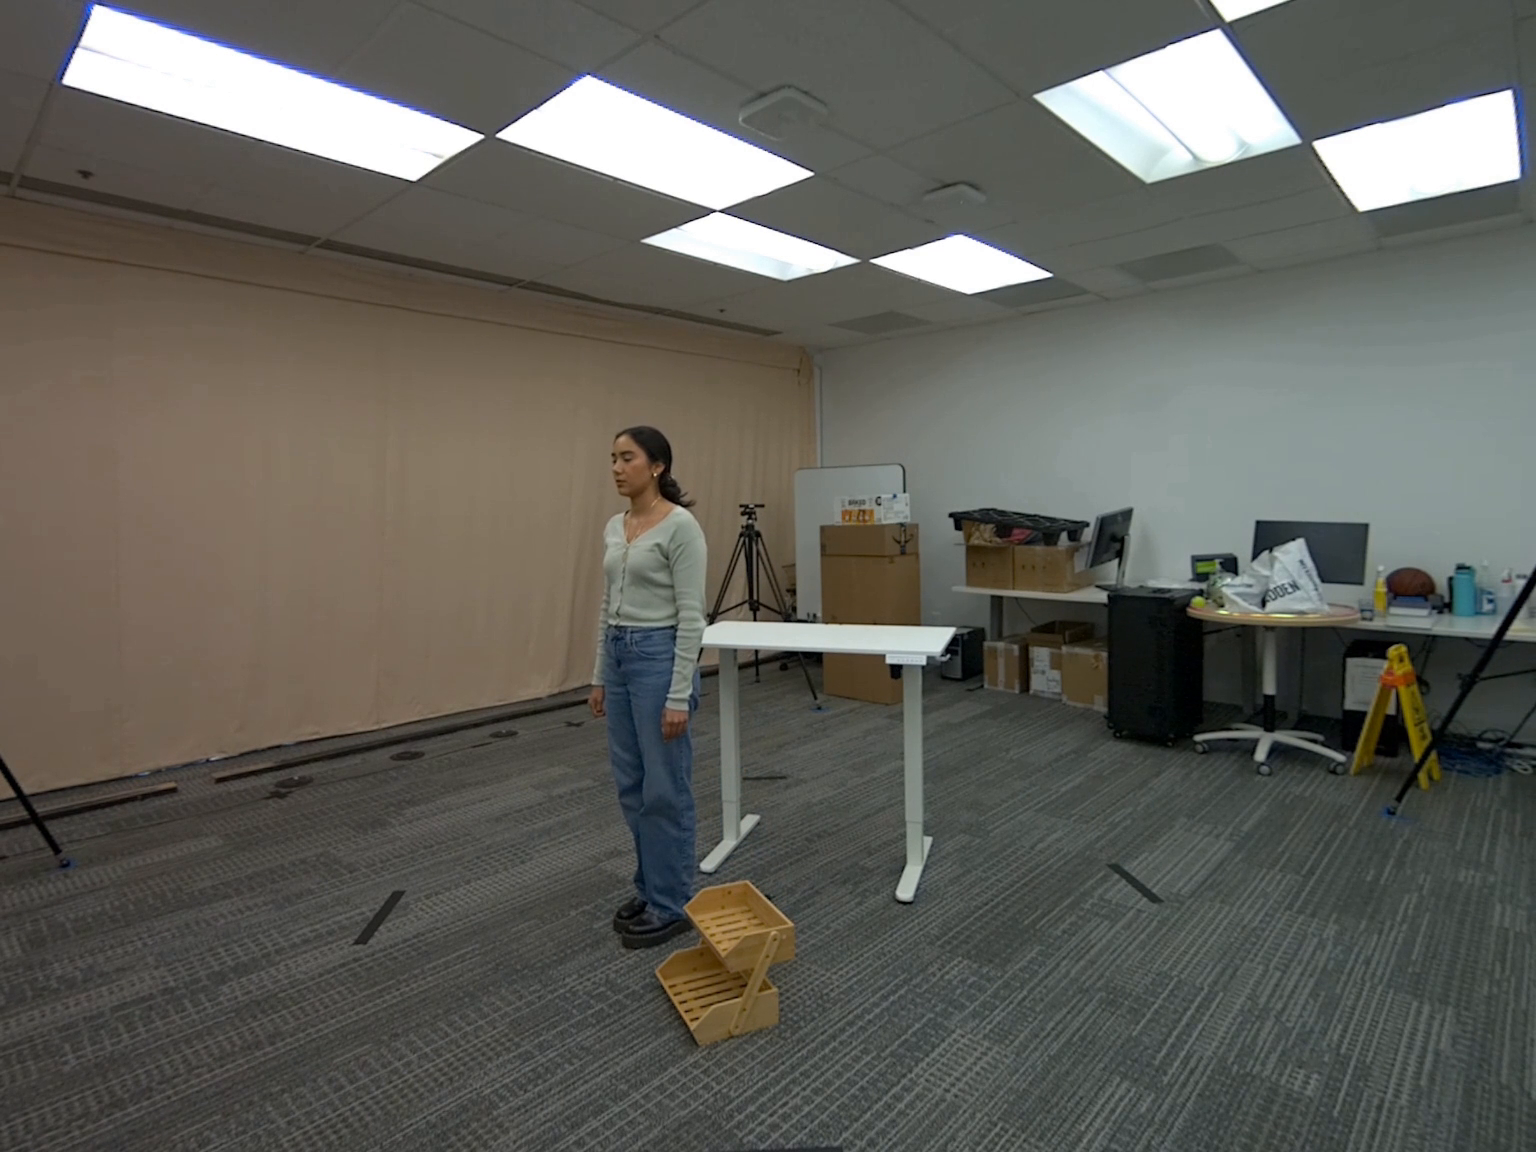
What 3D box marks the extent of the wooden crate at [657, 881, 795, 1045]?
[{"bbox_3d":[-0.127,1.065,2.344,0.295,0.273,0.333,-3,4,-25],"label":"wooden crate"}]
